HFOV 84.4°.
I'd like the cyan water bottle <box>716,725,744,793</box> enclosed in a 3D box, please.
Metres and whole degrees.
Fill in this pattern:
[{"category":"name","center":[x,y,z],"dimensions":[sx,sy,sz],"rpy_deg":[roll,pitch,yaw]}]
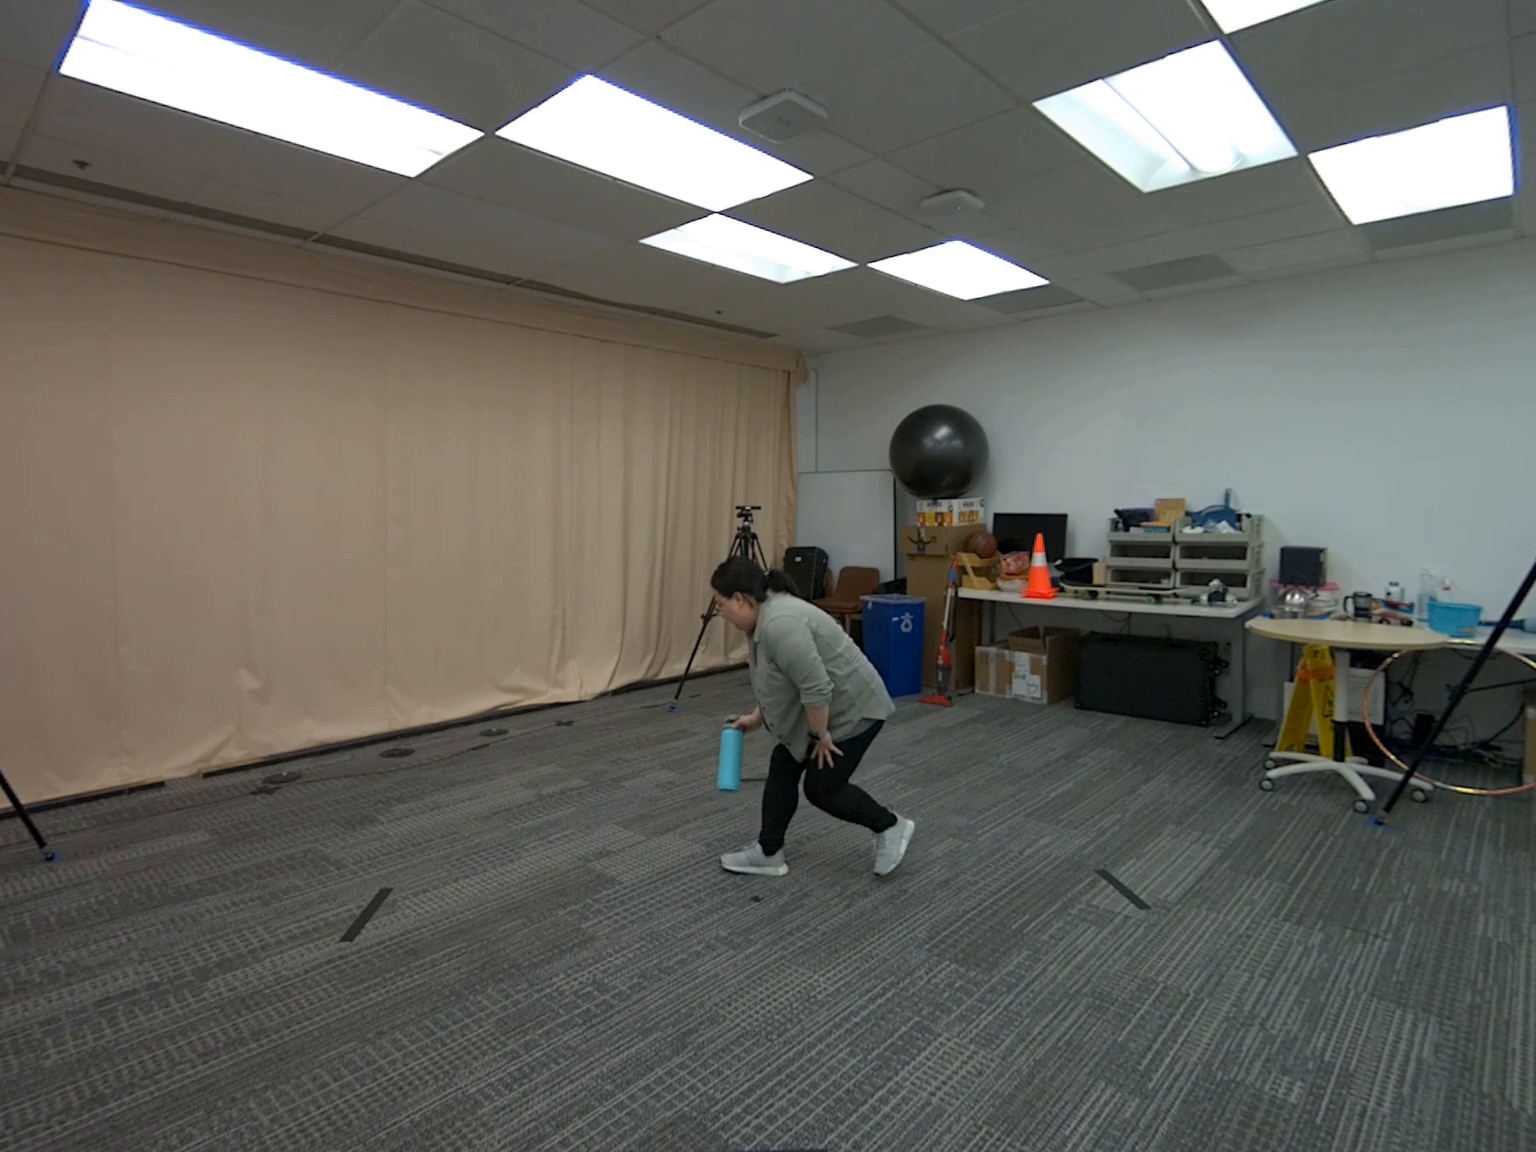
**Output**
[{"category":"cyan water bottle","center":[-0.110,0.695,3.271],"dimensions":[0.092,0.287,0.091],"rpy_deg":[3,-22,0]}]
